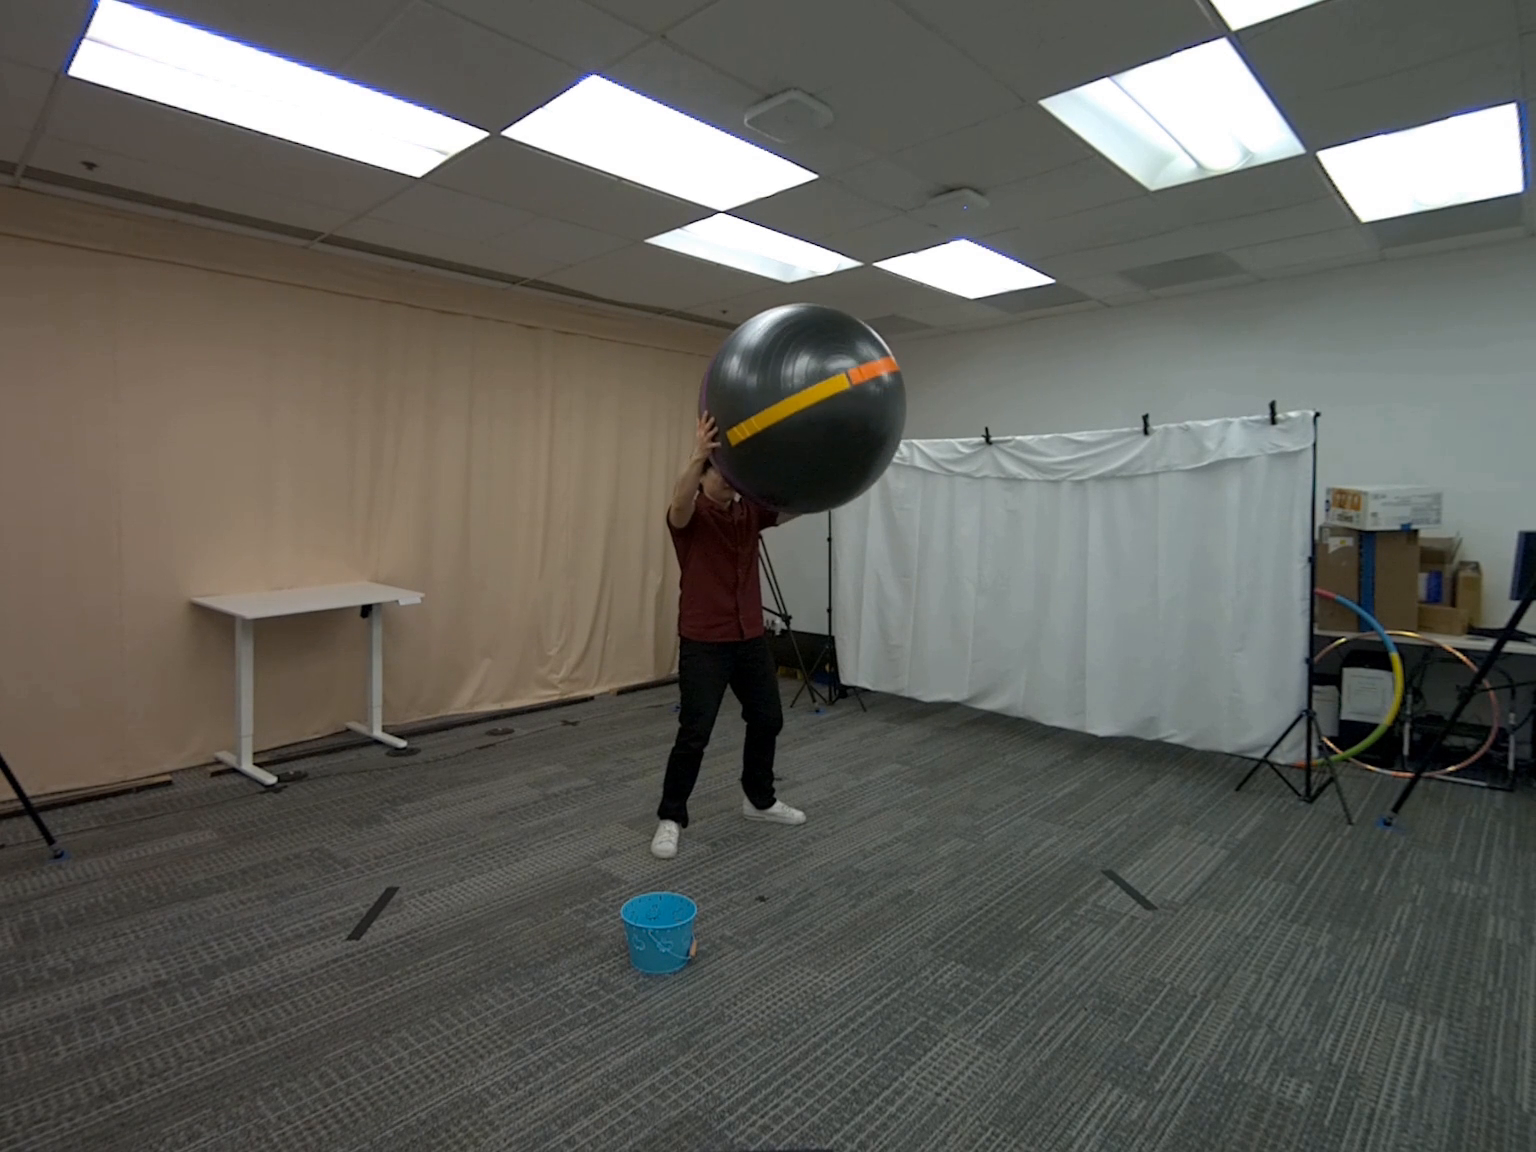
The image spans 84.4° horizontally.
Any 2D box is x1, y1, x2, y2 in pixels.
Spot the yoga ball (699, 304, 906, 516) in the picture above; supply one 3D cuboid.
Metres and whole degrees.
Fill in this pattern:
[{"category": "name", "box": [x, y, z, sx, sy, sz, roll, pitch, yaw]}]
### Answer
[{"category": "yoga ball", "box": [0.127, -0.592, 3.095, 0.757, 0.756, 0.760, 0, 4, -2]}]
